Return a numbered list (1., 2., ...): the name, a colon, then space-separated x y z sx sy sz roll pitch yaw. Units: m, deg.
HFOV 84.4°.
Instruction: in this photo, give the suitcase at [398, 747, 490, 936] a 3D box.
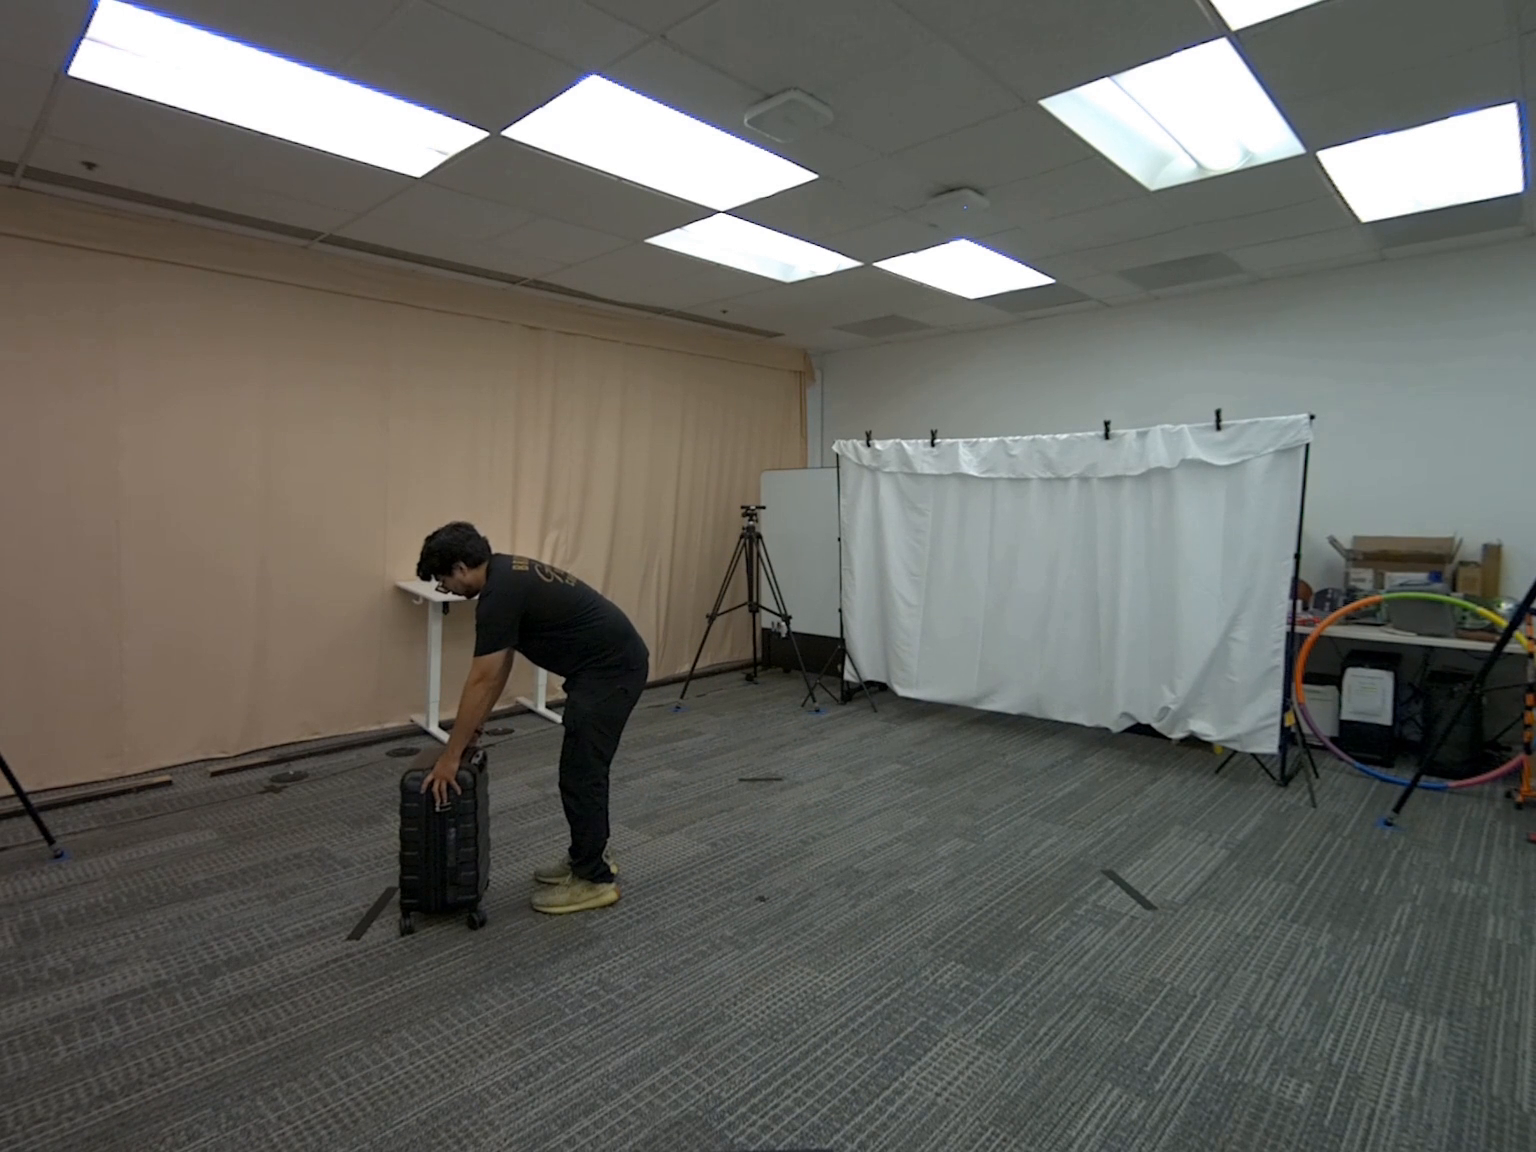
1. suitcase: -1.117 0.887 2.923 0.246 0.548 0.379 -1 3 -9
